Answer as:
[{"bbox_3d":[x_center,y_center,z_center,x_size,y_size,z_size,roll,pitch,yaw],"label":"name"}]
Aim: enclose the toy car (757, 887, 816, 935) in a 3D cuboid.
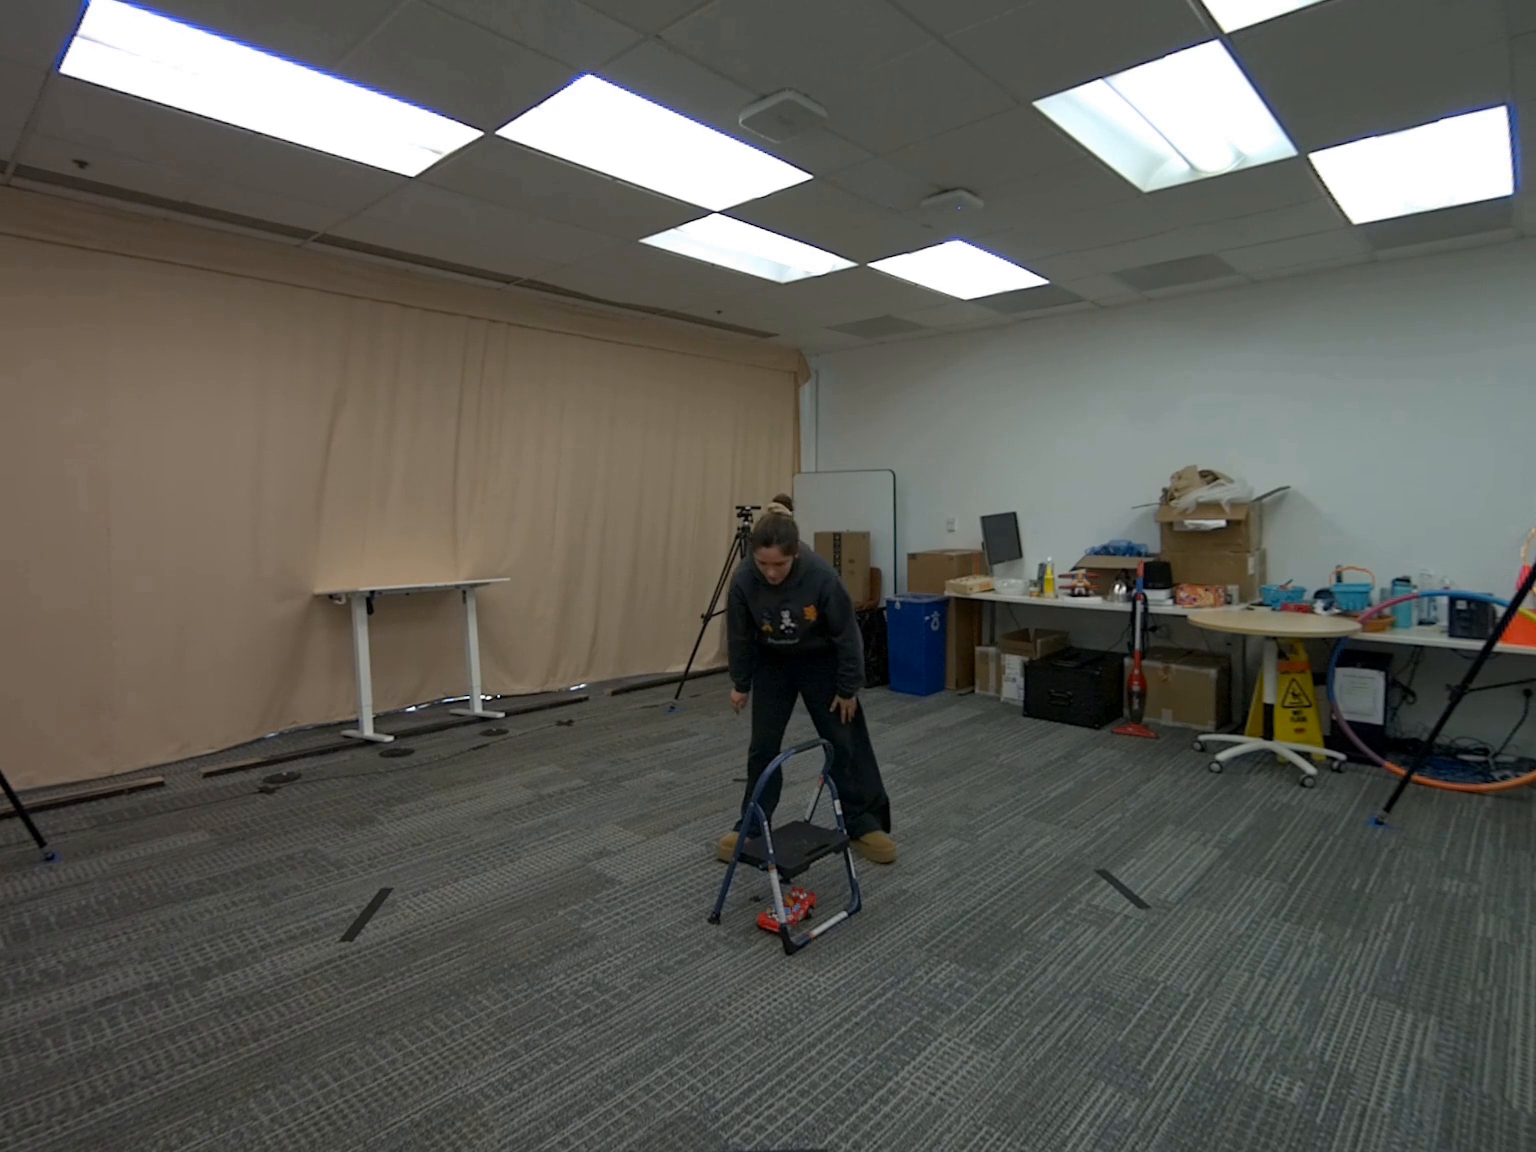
[{"bbox_3d":[0.097,1.120,2.826,0.134,0.082,0.249,2,17,34],"label":"toy car"}]
